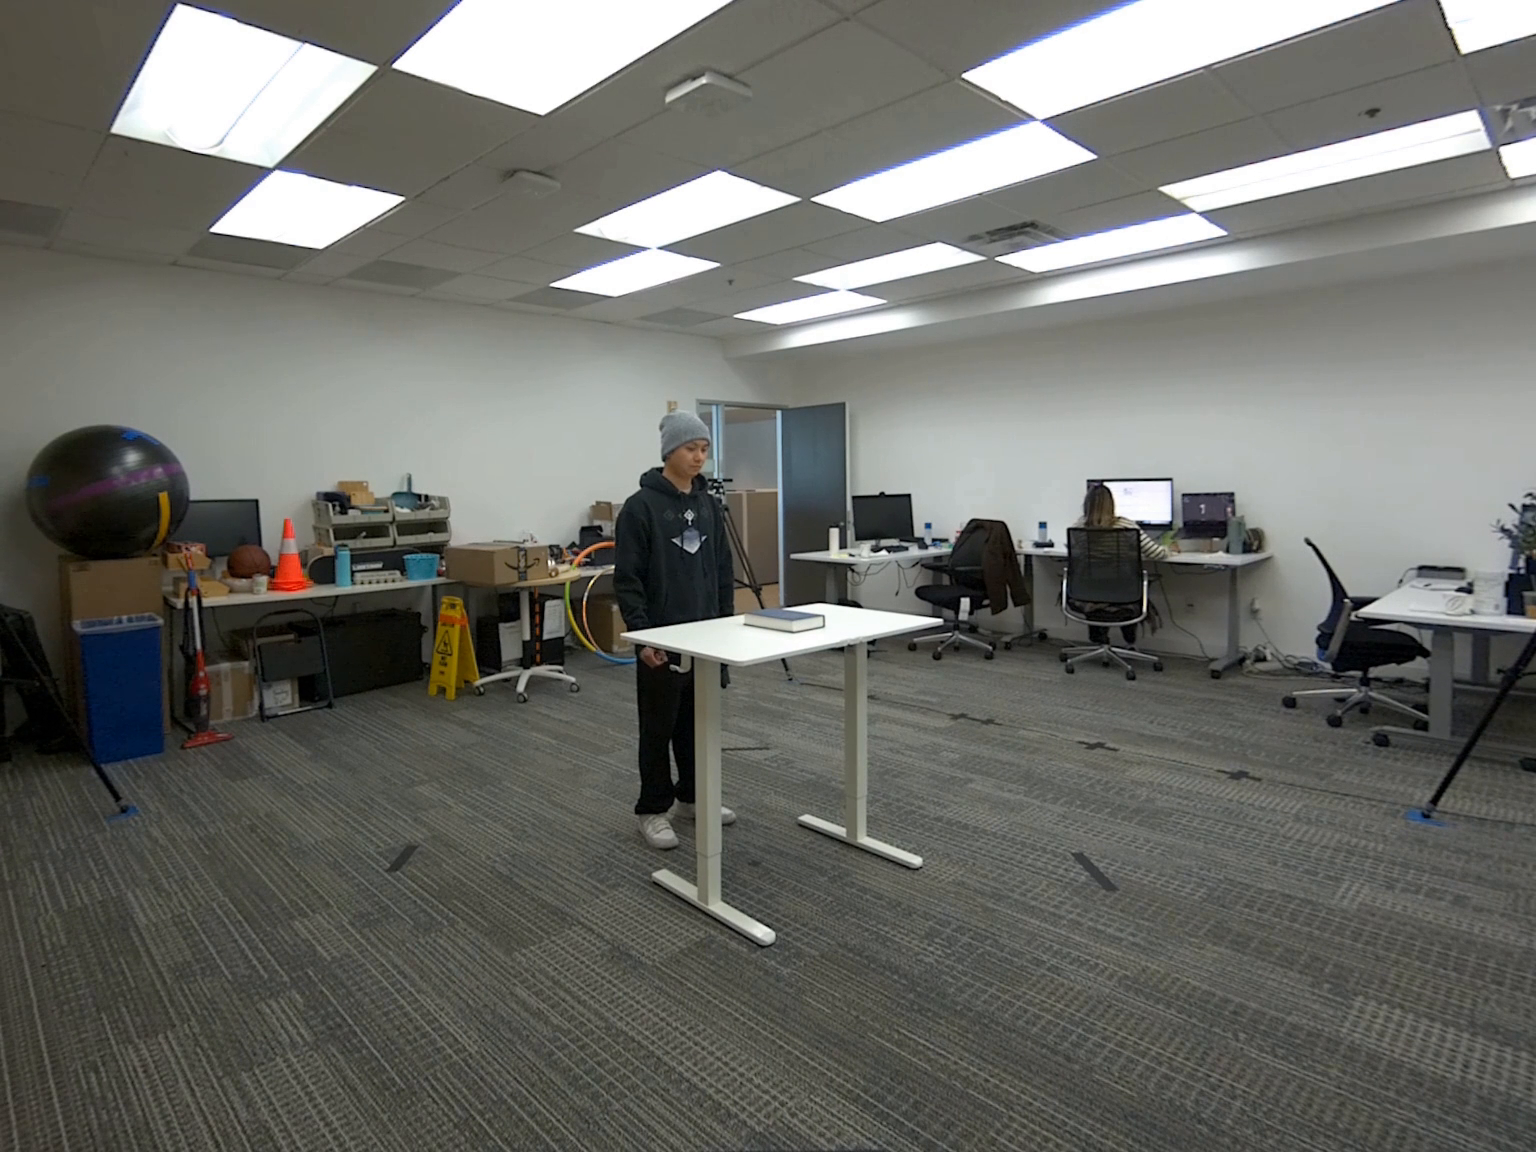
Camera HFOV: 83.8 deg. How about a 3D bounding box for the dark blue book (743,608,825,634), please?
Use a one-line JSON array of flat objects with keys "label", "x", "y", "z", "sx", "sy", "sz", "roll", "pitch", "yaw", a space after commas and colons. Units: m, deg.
[{"label": "dark blue book", "x": 0.064, "y": 0.155, "z": 2.978, "sx": 0.159, "sy": 0.045, "sz": 0.253, "roll": -6, "pitch": 8, "yaw": -43}]
